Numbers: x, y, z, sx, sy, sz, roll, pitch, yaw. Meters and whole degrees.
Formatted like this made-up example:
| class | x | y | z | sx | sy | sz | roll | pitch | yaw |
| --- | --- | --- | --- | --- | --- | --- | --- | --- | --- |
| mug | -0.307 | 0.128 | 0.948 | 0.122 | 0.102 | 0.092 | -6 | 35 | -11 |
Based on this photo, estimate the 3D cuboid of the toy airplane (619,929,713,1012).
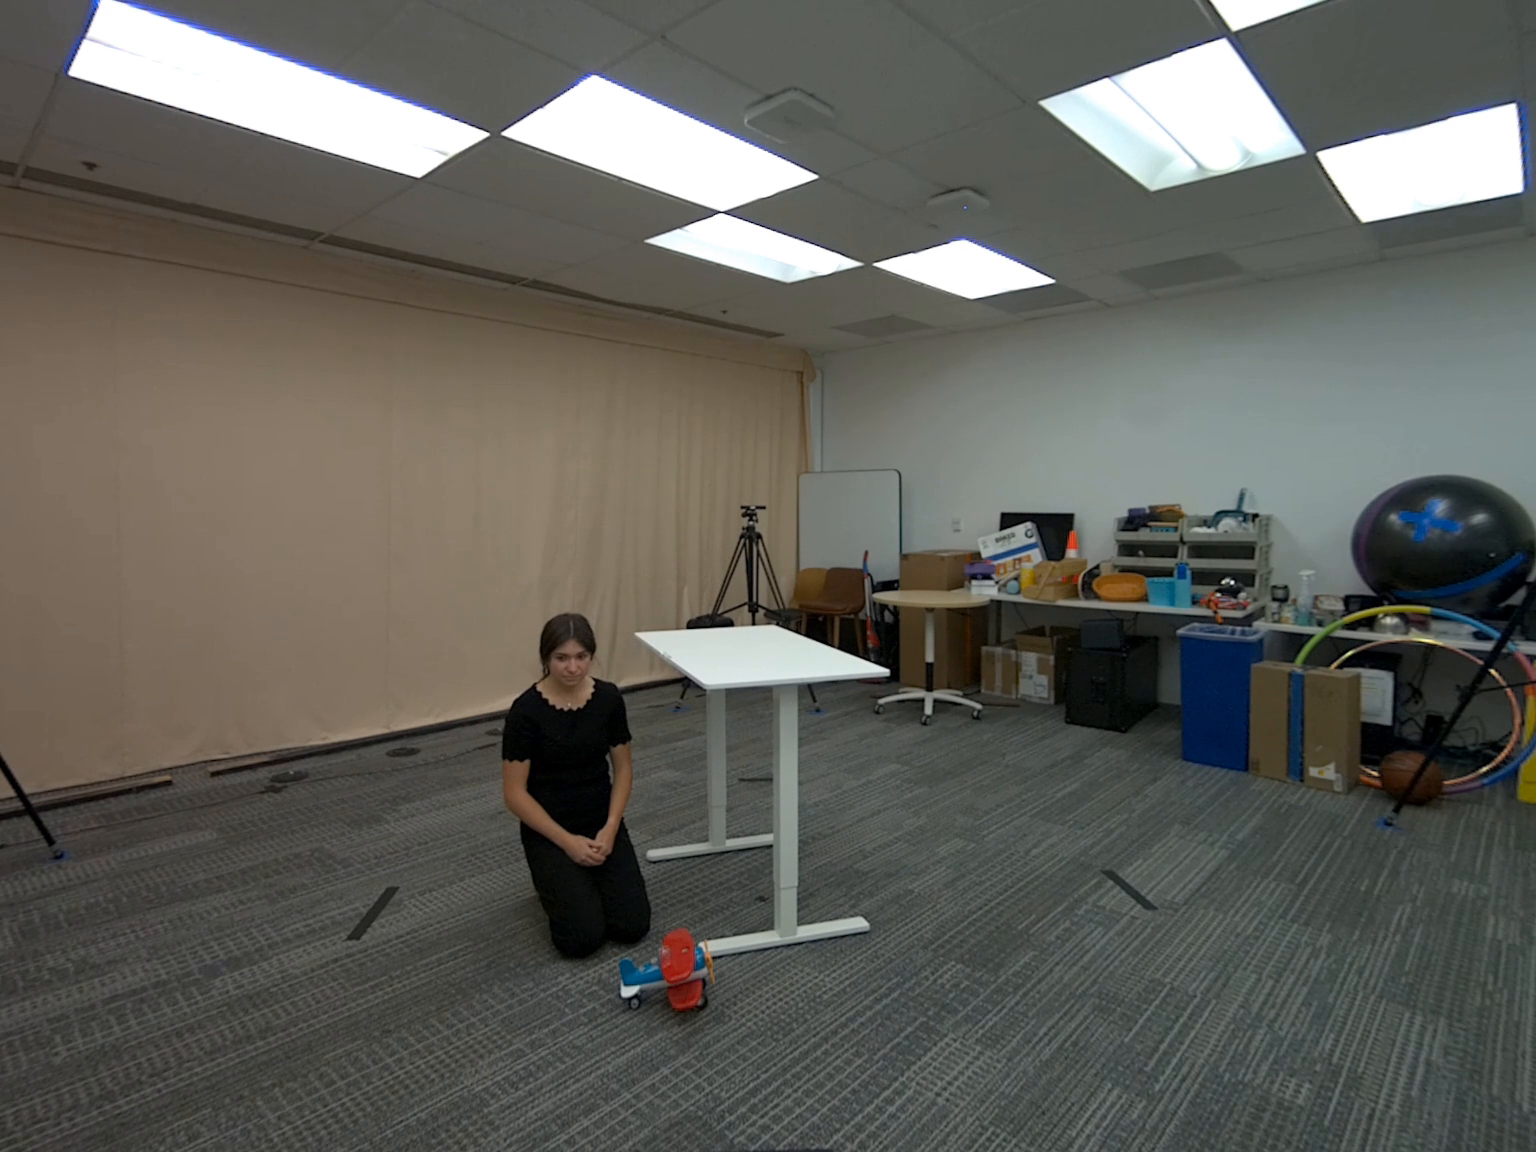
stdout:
| class | x | y | z | sx | sy | sz | roll | pitch | yaw |
| --- | --- | --- | --- | --- | --- | --- | --- | --- | --- |
| toy airplane | -0.277 | 1.126 | 2.338 | 0.252 | 0.156 | 0.259 | -2 | 5 | -34 |
